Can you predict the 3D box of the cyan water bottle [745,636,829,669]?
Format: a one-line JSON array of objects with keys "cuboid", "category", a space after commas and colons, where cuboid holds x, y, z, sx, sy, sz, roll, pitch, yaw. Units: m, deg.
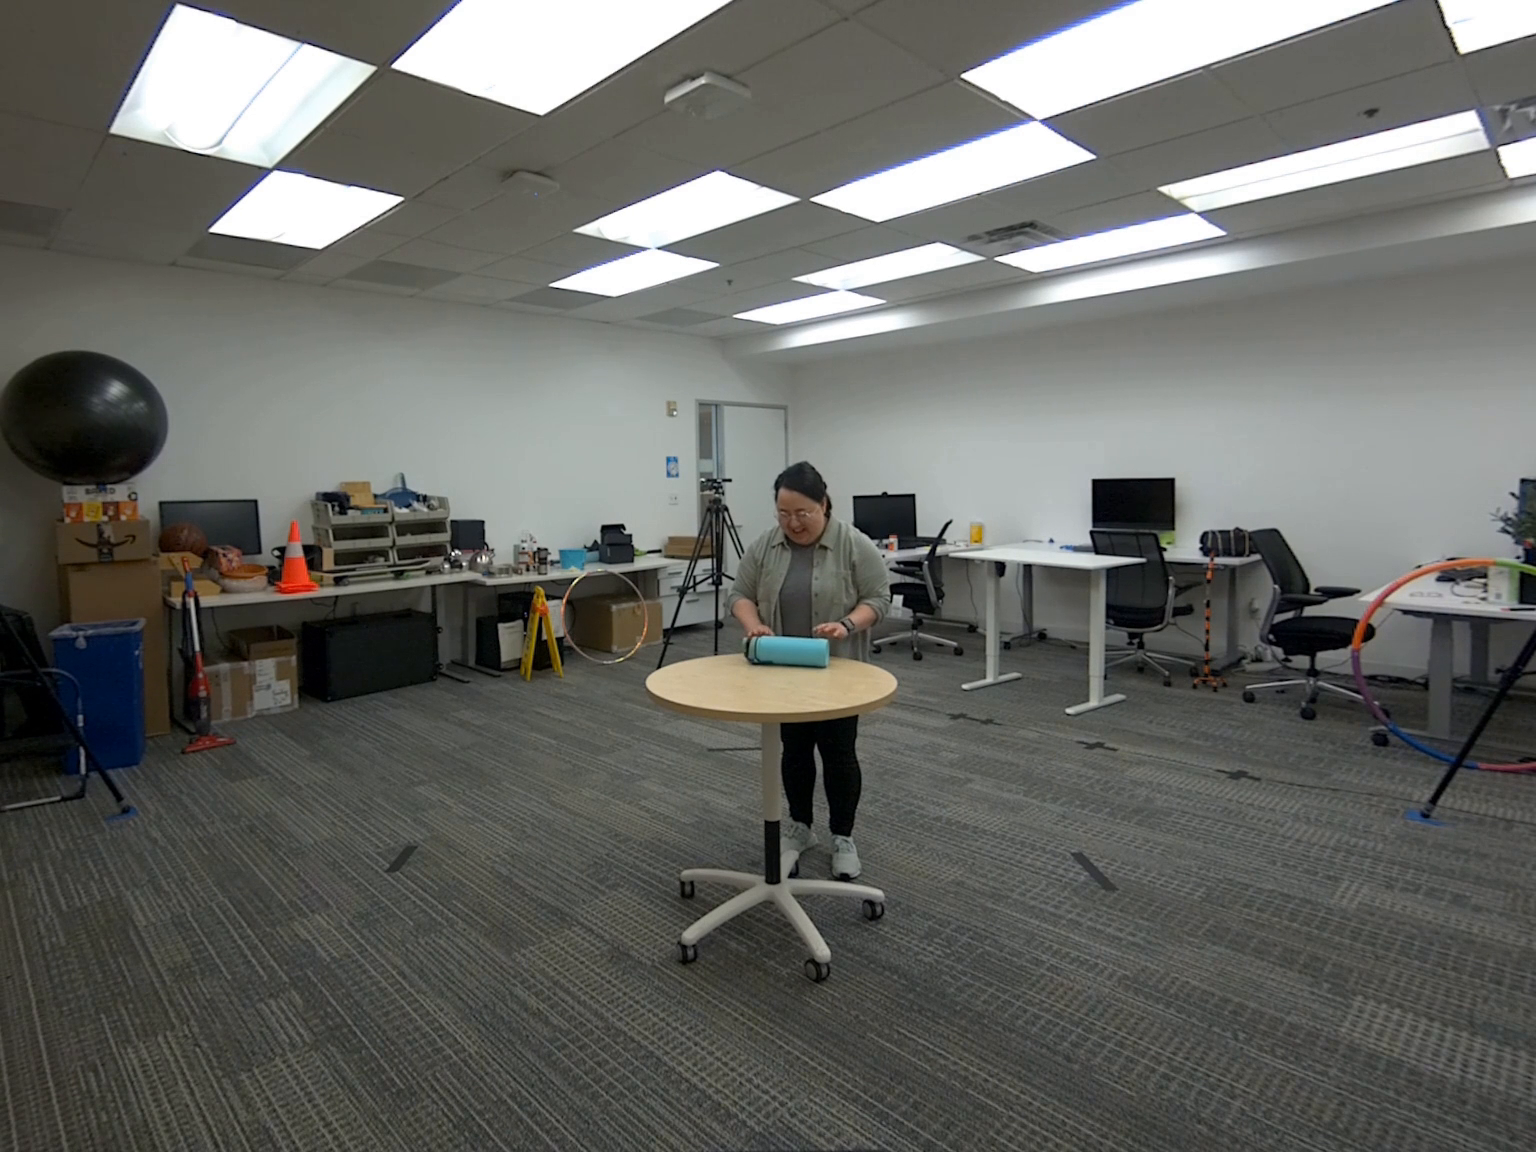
[{"cuboid": [0.059, 0.250, 2.809, 0.287, 0.092, 0.091, 1, 5, 13], "category": "cyan water bottle"}]
